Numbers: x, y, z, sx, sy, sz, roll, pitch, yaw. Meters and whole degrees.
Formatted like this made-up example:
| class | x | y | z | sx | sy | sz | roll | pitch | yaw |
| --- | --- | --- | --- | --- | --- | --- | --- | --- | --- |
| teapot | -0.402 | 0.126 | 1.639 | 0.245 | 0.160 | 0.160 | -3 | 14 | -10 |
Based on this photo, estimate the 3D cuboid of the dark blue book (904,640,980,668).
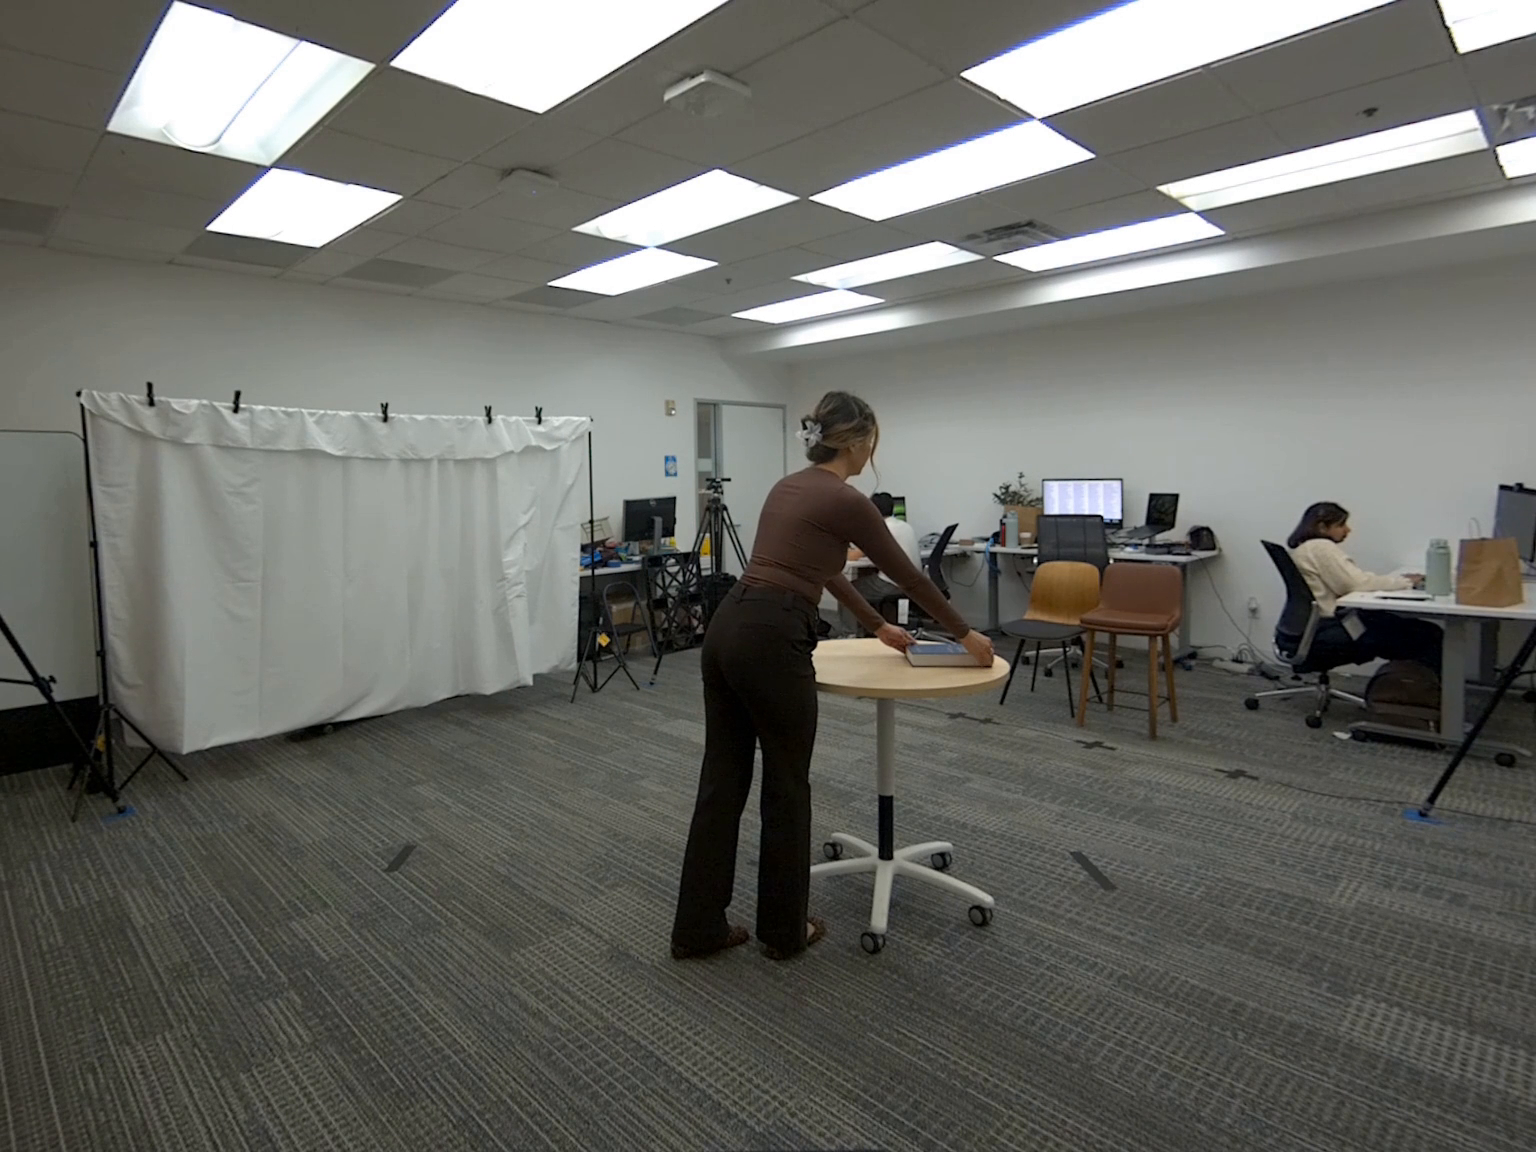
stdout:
| class | x | y | z | sx | sy | sz | roll | pitch | yaw |
| --- | --- | --- | --- | --- | --- | --- | --- | --- | --- |
| dark blue book | 0.588 | 0.256 | 2.744 | 0.246 | 0.045 | 0.163 | -1 | 6 | 4 |
